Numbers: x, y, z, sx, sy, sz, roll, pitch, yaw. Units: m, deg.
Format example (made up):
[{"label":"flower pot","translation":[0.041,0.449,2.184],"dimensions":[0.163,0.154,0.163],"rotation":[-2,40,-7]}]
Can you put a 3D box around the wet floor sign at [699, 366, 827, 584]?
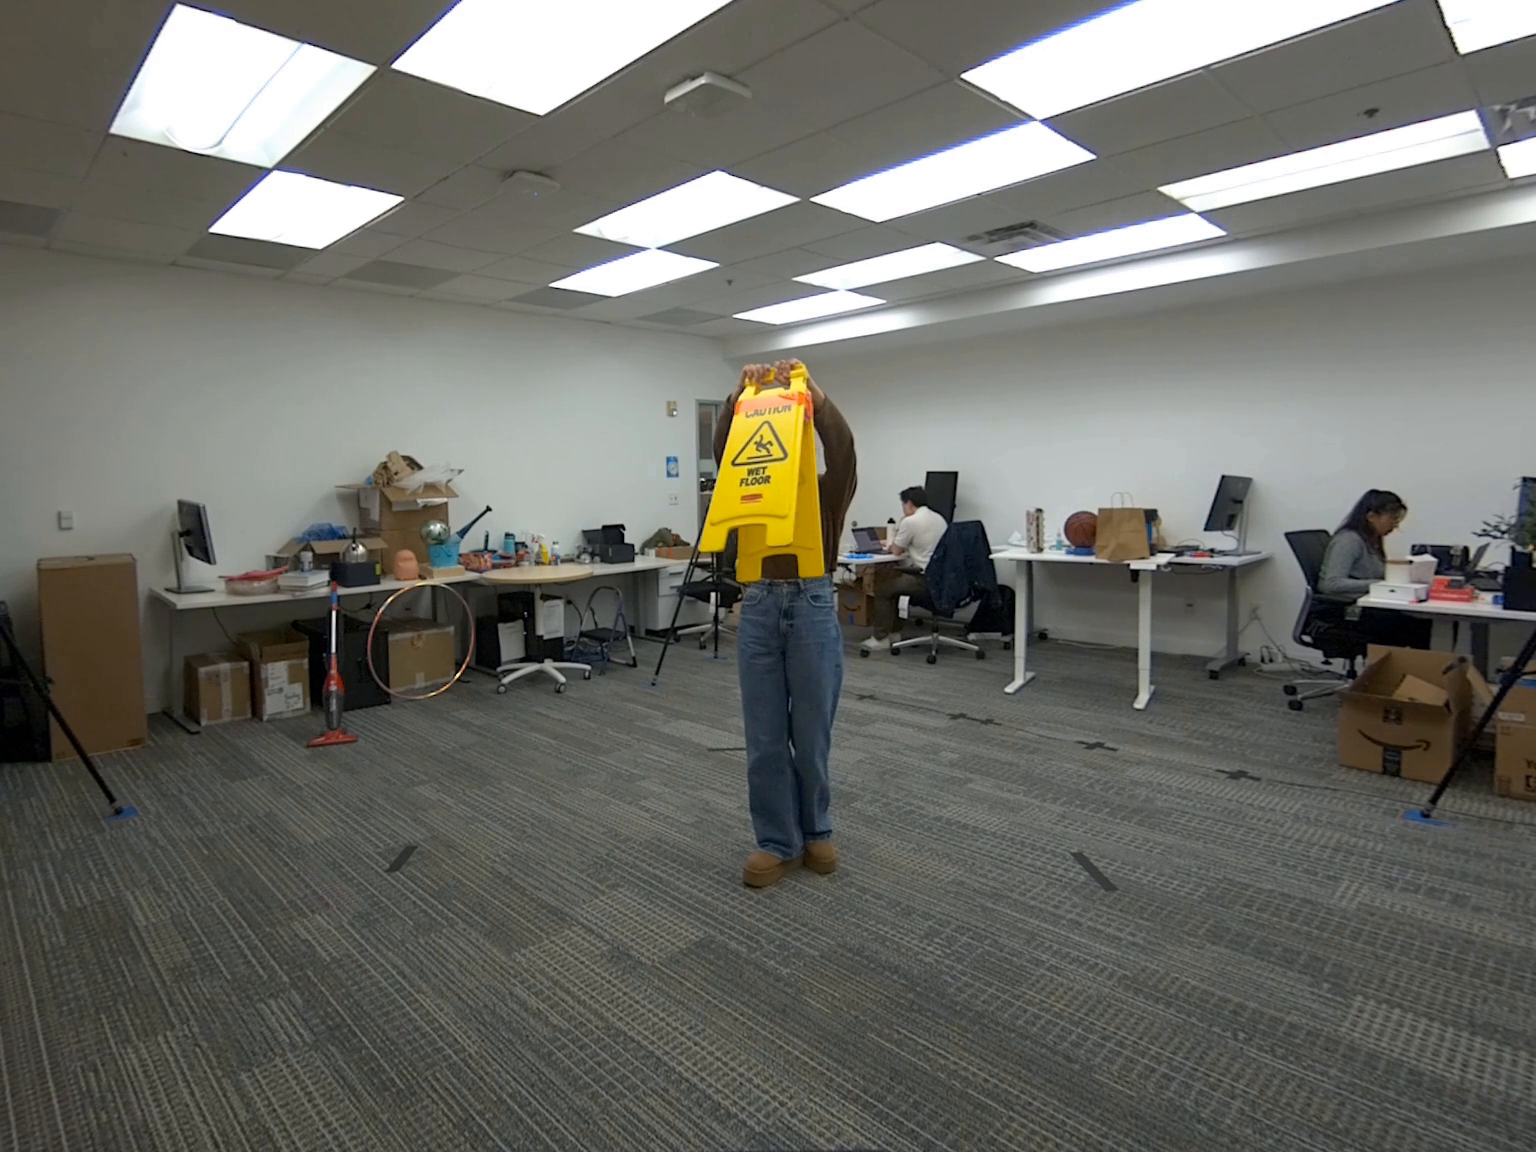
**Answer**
[{"label":"wet floor sign","translation":[0.004,-0.333,2.544],"dimensions":[0.287,0.657,0.279],"rotation":[-7,-22,23]}]
